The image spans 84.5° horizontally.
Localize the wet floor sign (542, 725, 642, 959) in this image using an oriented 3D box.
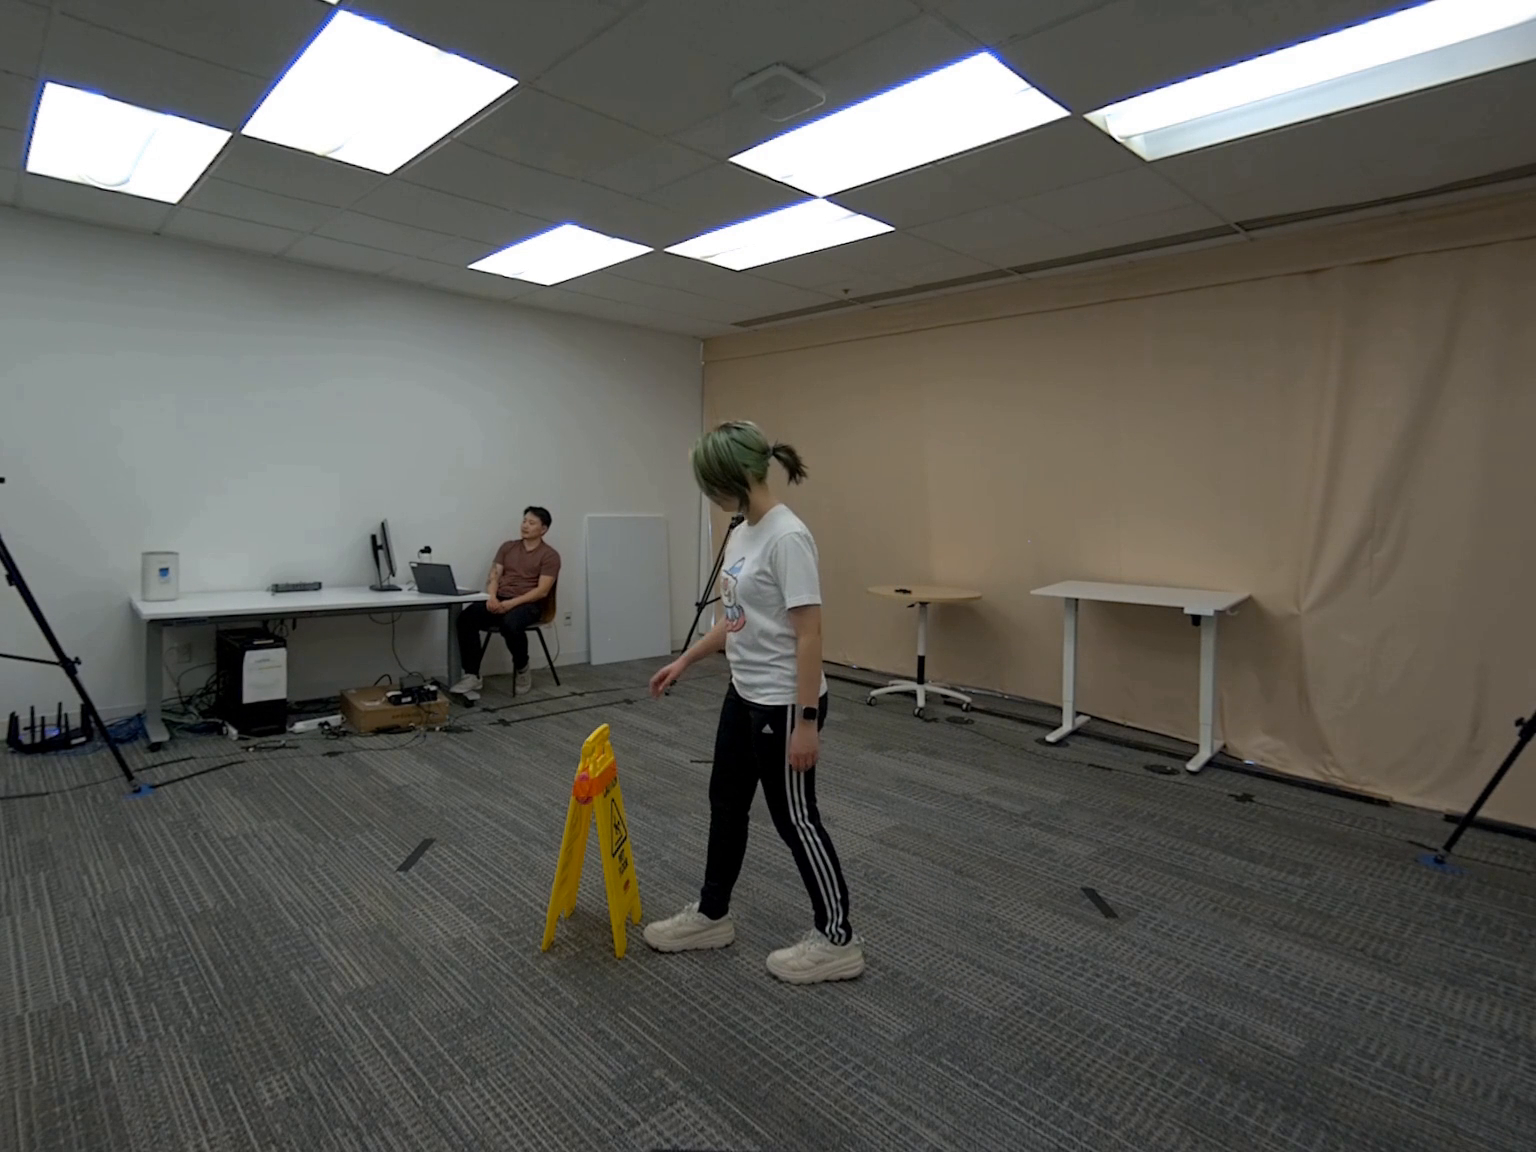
[{"bbox_3d":[-0.552,0.813,2.644,0.291,0.644,0.281,2,4,7],"label":"wet floor sign"}]
